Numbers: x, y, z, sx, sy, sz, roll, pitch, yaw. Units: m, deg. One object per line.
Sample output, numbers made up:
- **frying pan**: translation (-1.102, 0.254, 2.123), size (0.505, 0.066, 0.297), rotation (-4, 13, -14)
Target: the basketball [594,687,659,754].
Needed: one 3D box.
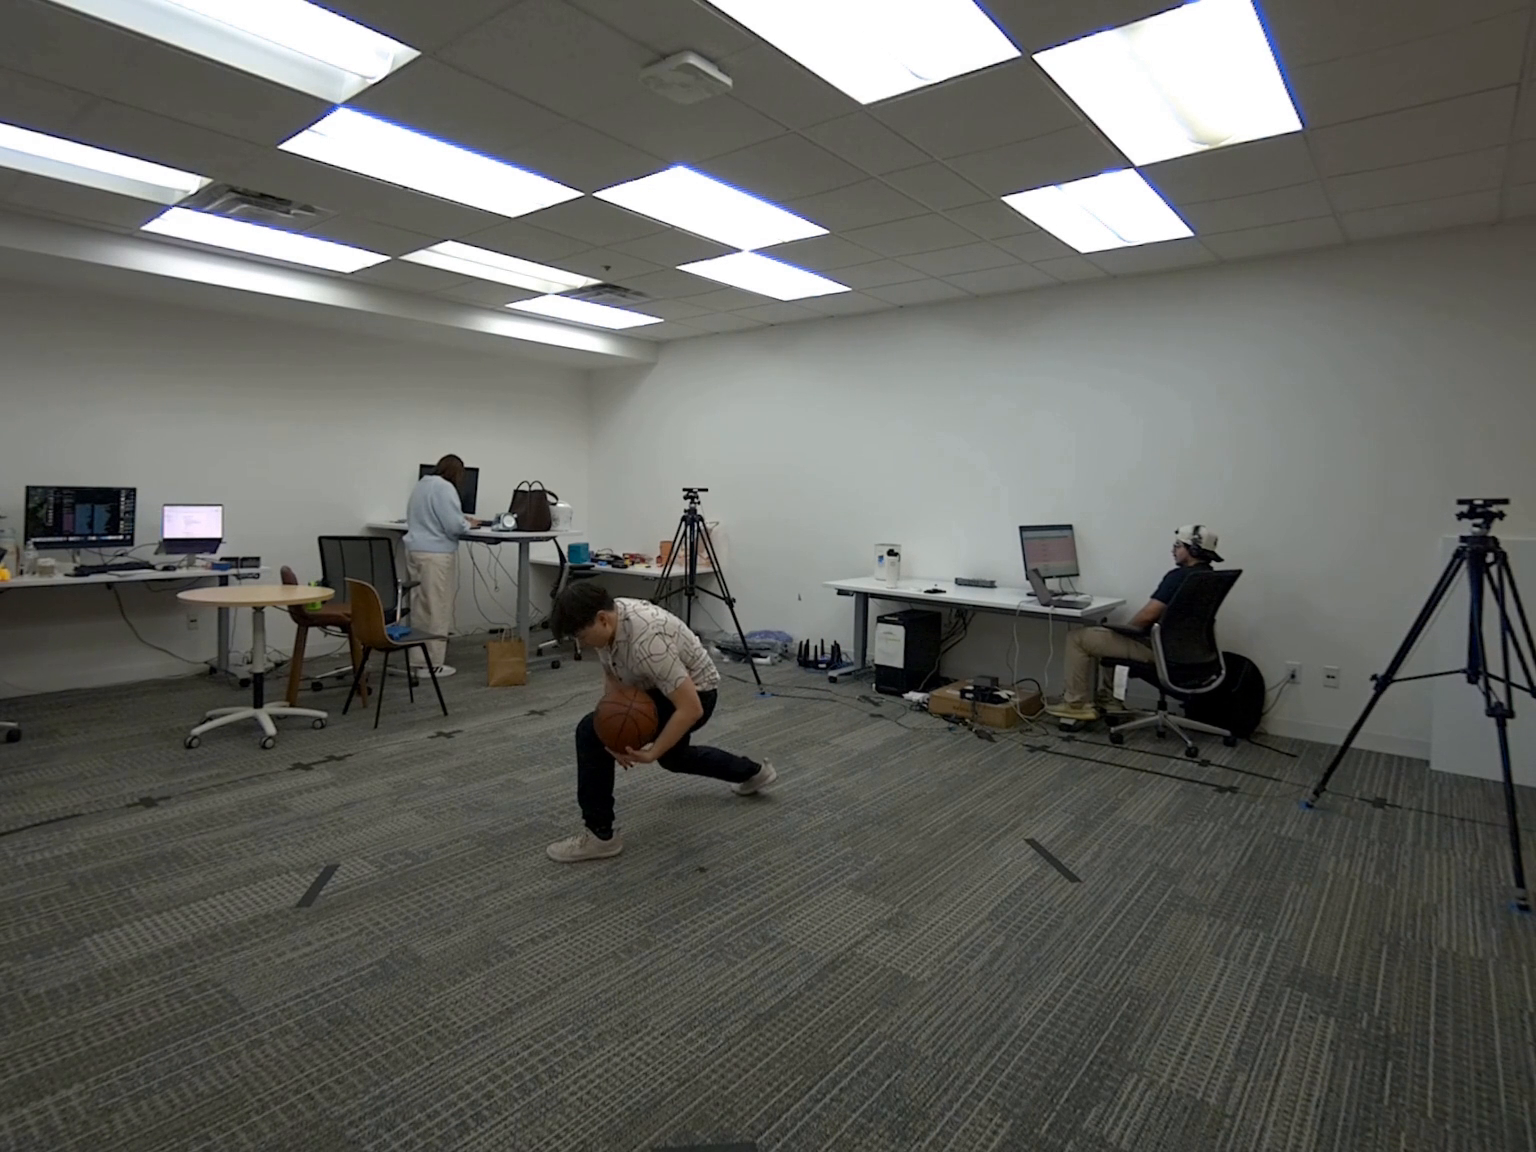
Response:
- **basketball**: translation (-0.532, 0.516, 3.129), size (0.235, 0.235, 0.237), rotation (1, 4, -2)
